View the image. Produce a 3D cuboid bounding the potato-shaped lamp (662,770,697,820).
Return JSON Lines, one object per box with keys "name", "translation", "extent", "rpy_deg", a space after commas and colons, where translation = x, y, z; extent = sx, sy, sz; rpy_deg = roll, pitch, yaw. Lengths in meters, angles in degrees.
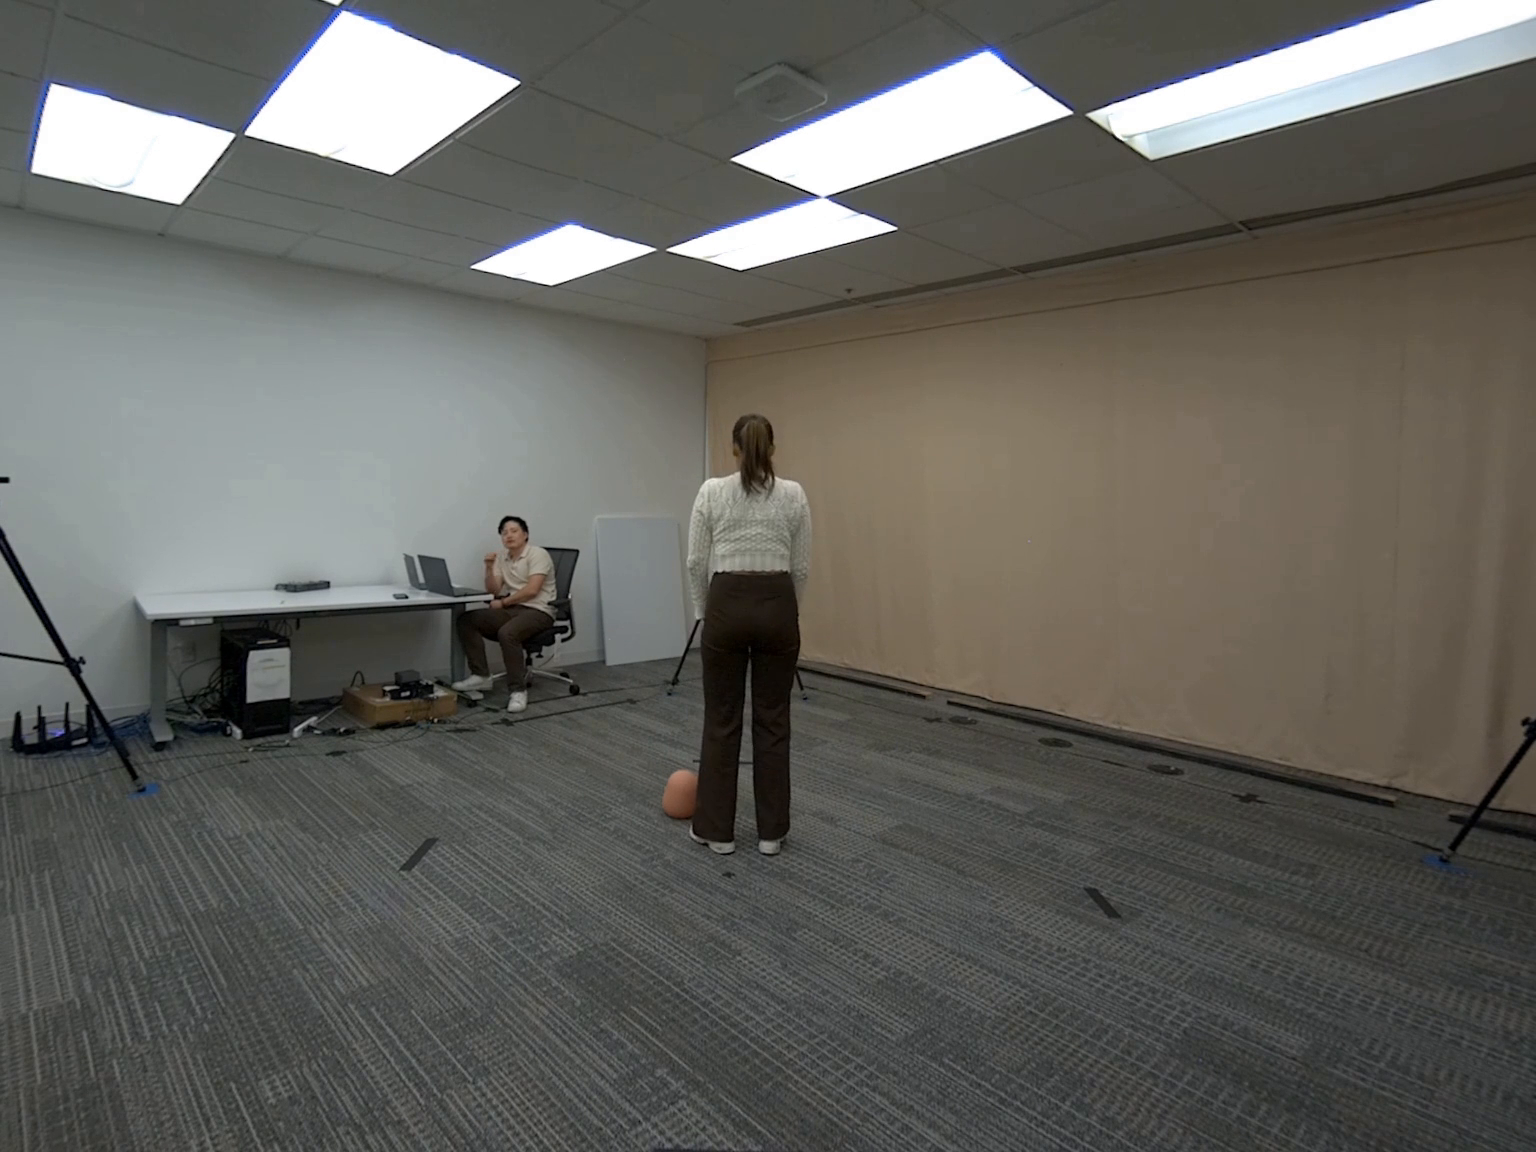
{"name": "potato-shaped lamp", "translation": [-0.381, 0.941, 3.674], "extent": [0.162, 0.197, 0.175], "rpy_deg": [-1, 10, -23]}
